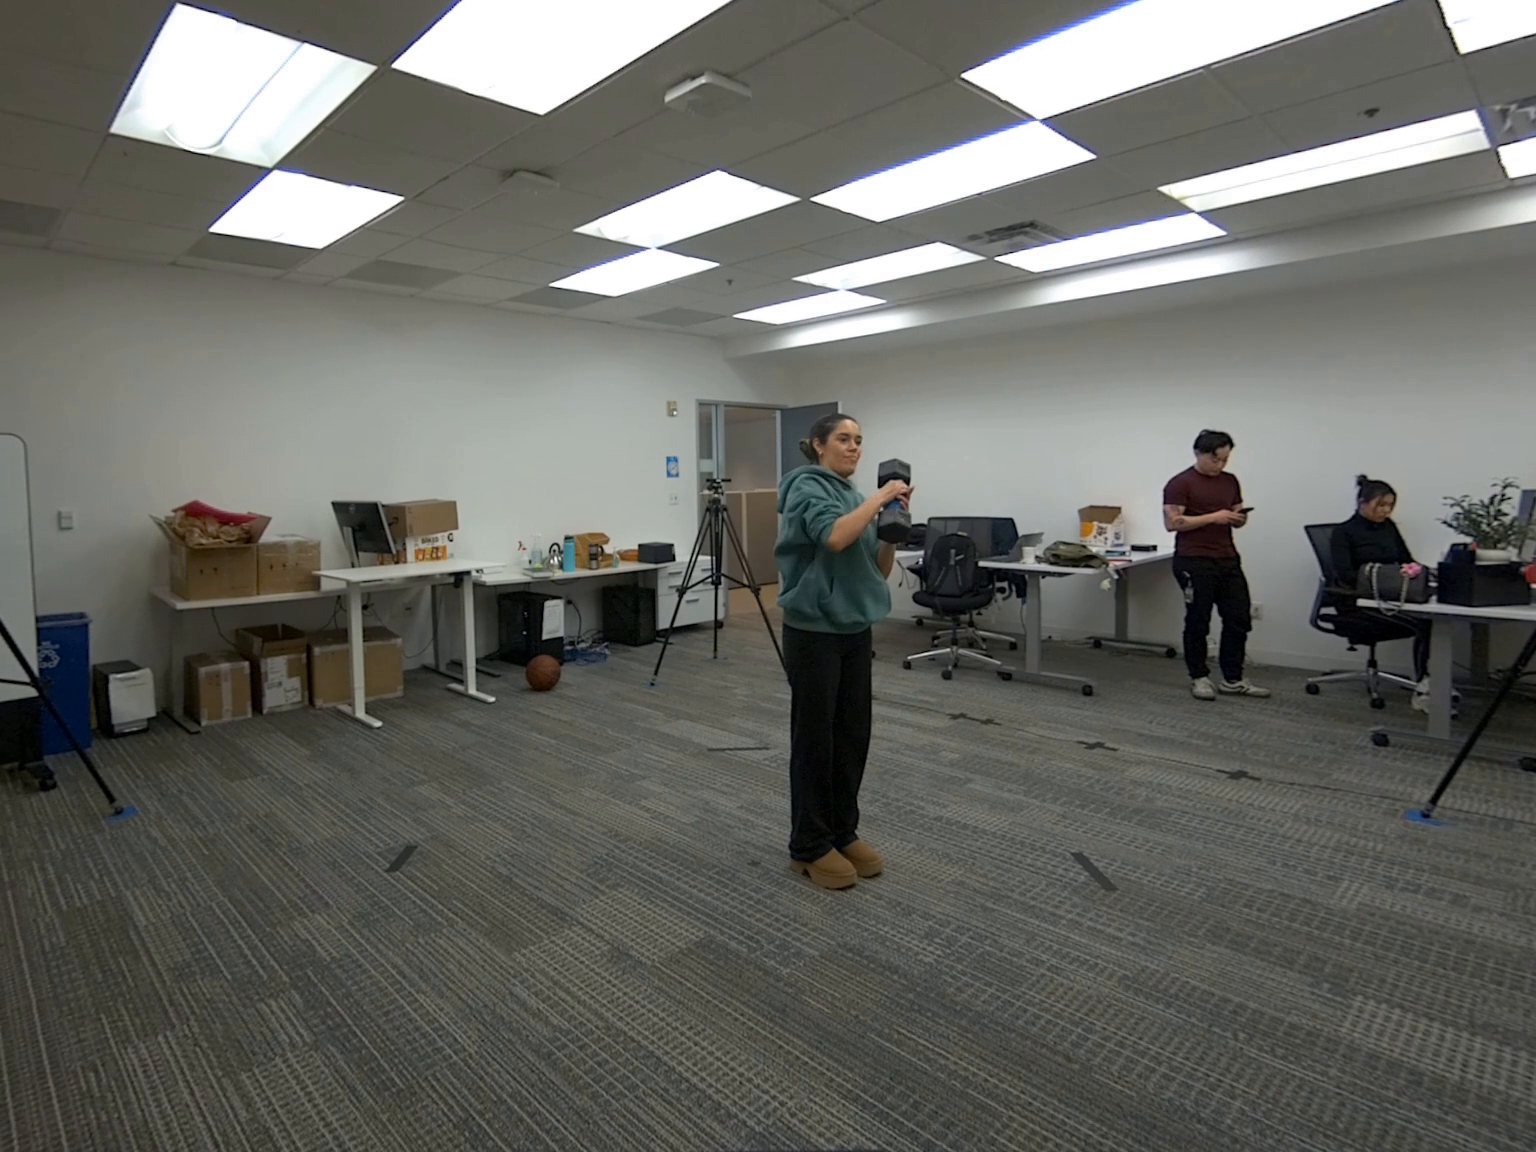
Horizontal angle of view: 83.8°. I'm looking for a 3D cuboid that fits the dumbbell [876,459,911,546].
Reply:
[{"bbox_3d":[0.411,-0.250,2.857,0.125,0.300,0.104,-11,-40,21],"label":"dumbbell"}]
